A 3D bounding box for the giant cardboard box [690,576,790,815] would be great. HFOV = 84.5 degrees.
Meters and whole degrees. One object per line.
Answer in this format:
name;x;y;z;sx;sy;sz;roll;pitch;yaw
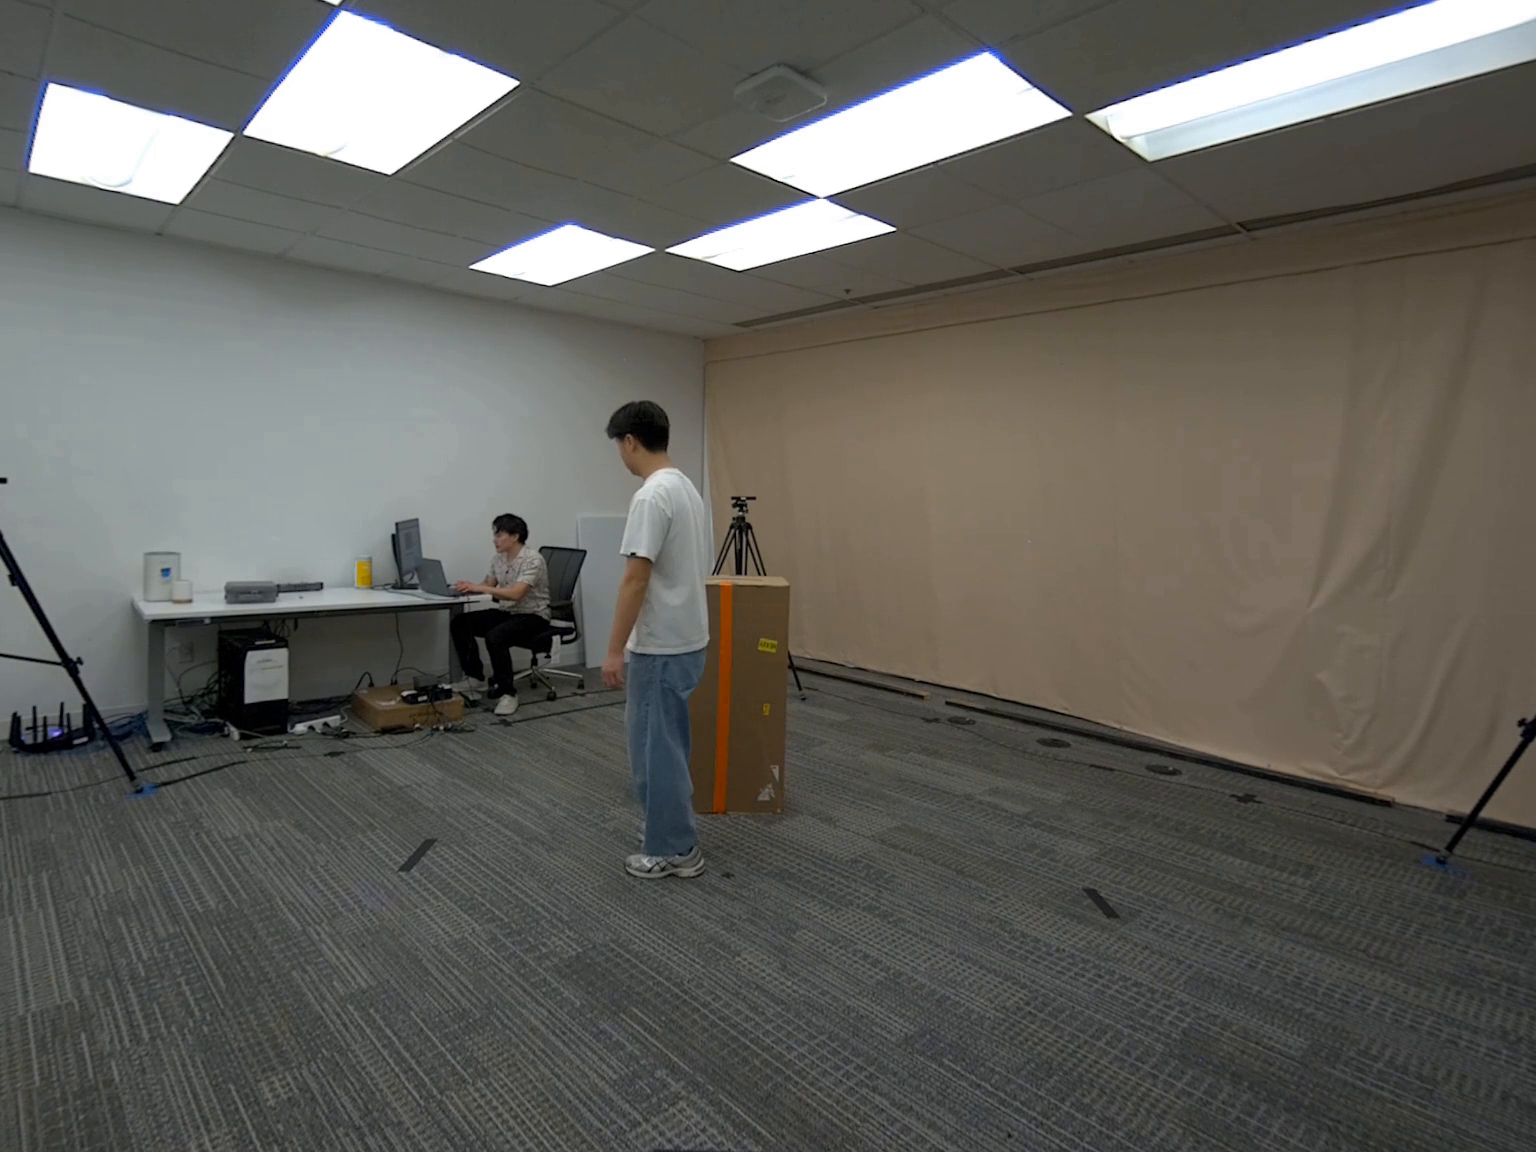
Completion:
giant cardboard box;-0.226;0.525;3.911;0.576;1.023;0.428;2;3;-4
